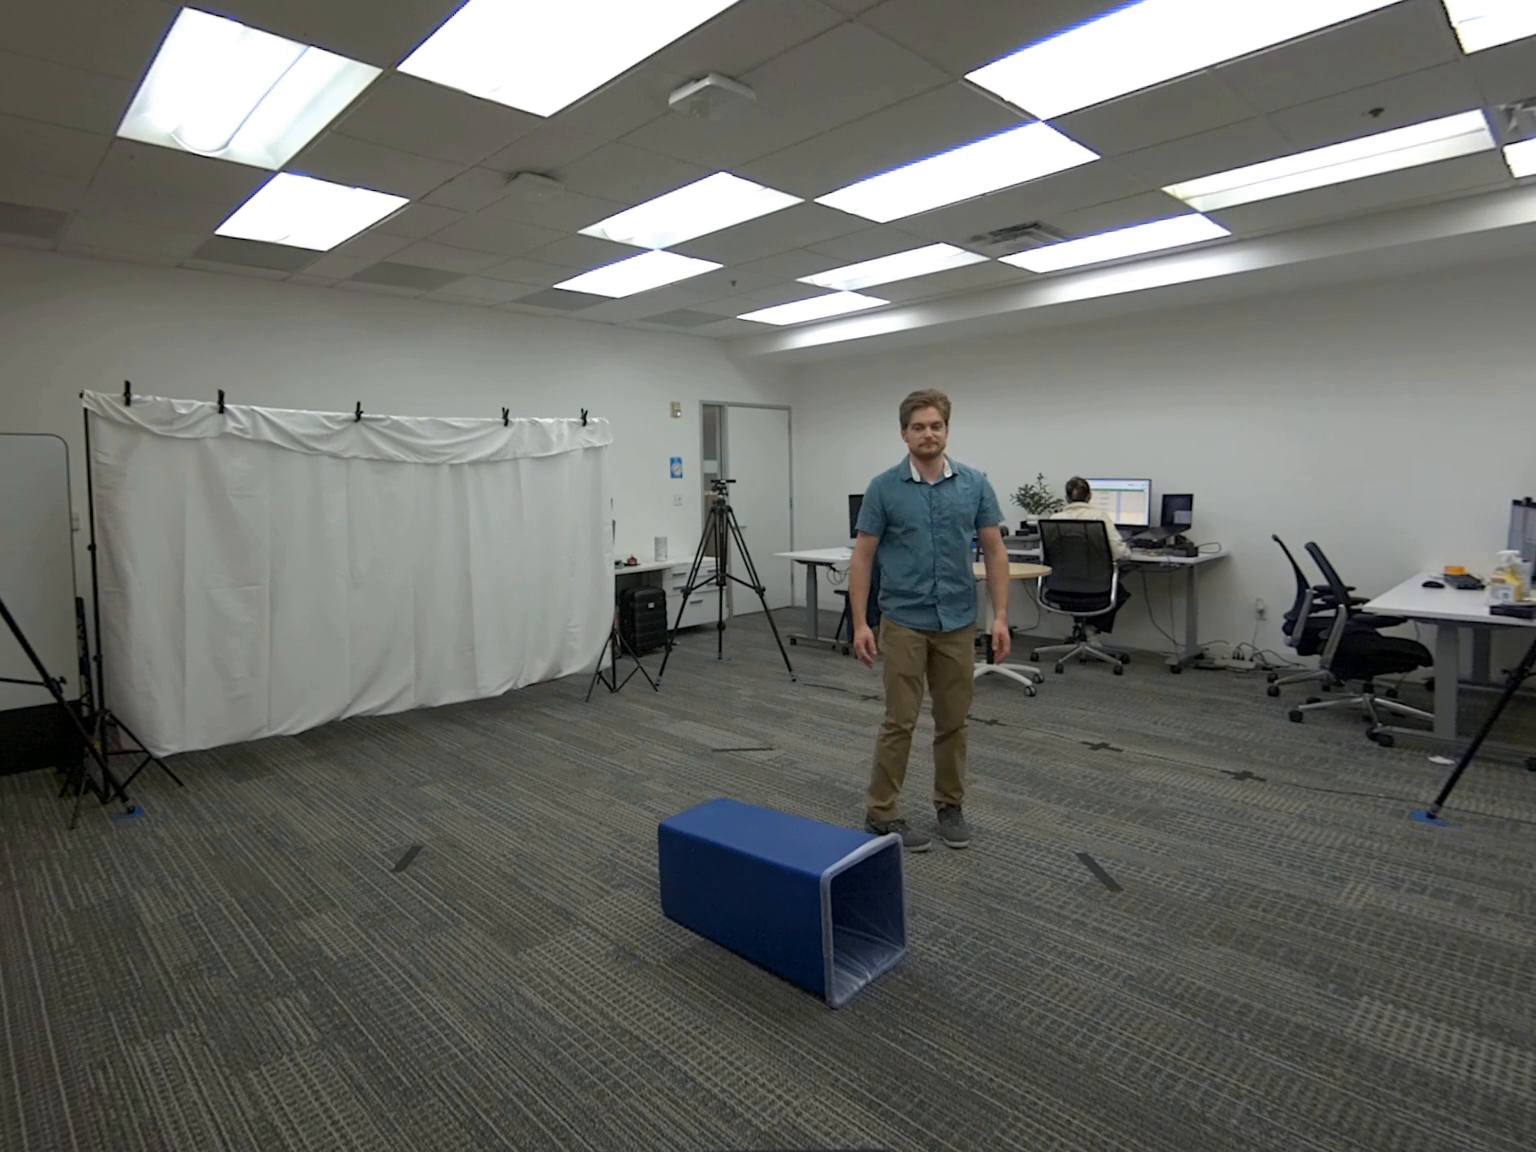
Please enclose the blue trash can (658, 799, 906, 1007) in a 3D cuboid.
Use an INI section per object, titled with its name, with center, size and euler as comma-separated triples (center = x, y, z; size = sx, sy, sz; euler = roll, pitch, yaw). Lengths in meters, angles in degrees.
[blue trash can]
center = 0.013, 0.941, 2.605
size = 0.734, 0.377, 0.364
euler = 1, 5, 43
